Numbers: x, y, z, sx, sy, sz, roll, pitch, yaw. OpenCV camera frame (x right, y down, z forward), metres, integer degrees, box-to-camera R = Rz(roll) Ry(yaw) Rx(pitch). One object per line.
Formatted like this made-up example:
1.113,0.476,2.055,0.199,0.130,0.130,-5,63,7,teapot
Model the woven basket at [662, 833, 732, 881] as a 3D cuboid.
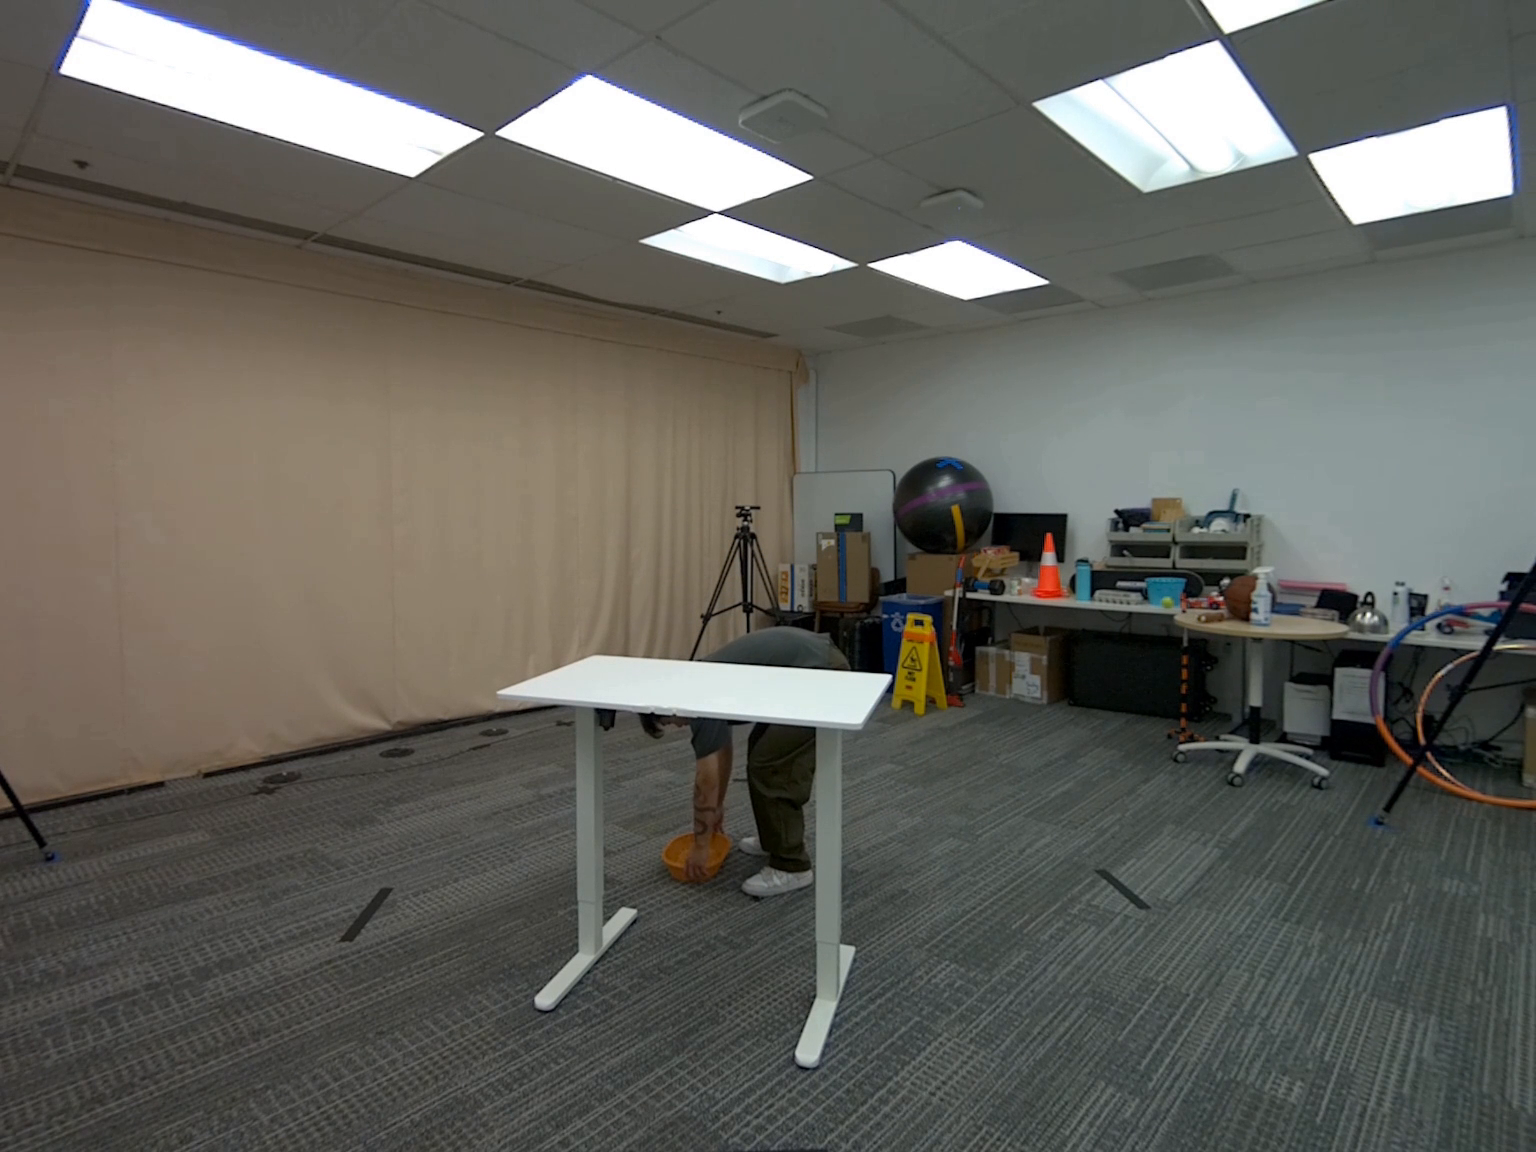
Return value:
-0.271,1.088,3.257,0.257,0.073,0.345,1,5,15,woven basket
